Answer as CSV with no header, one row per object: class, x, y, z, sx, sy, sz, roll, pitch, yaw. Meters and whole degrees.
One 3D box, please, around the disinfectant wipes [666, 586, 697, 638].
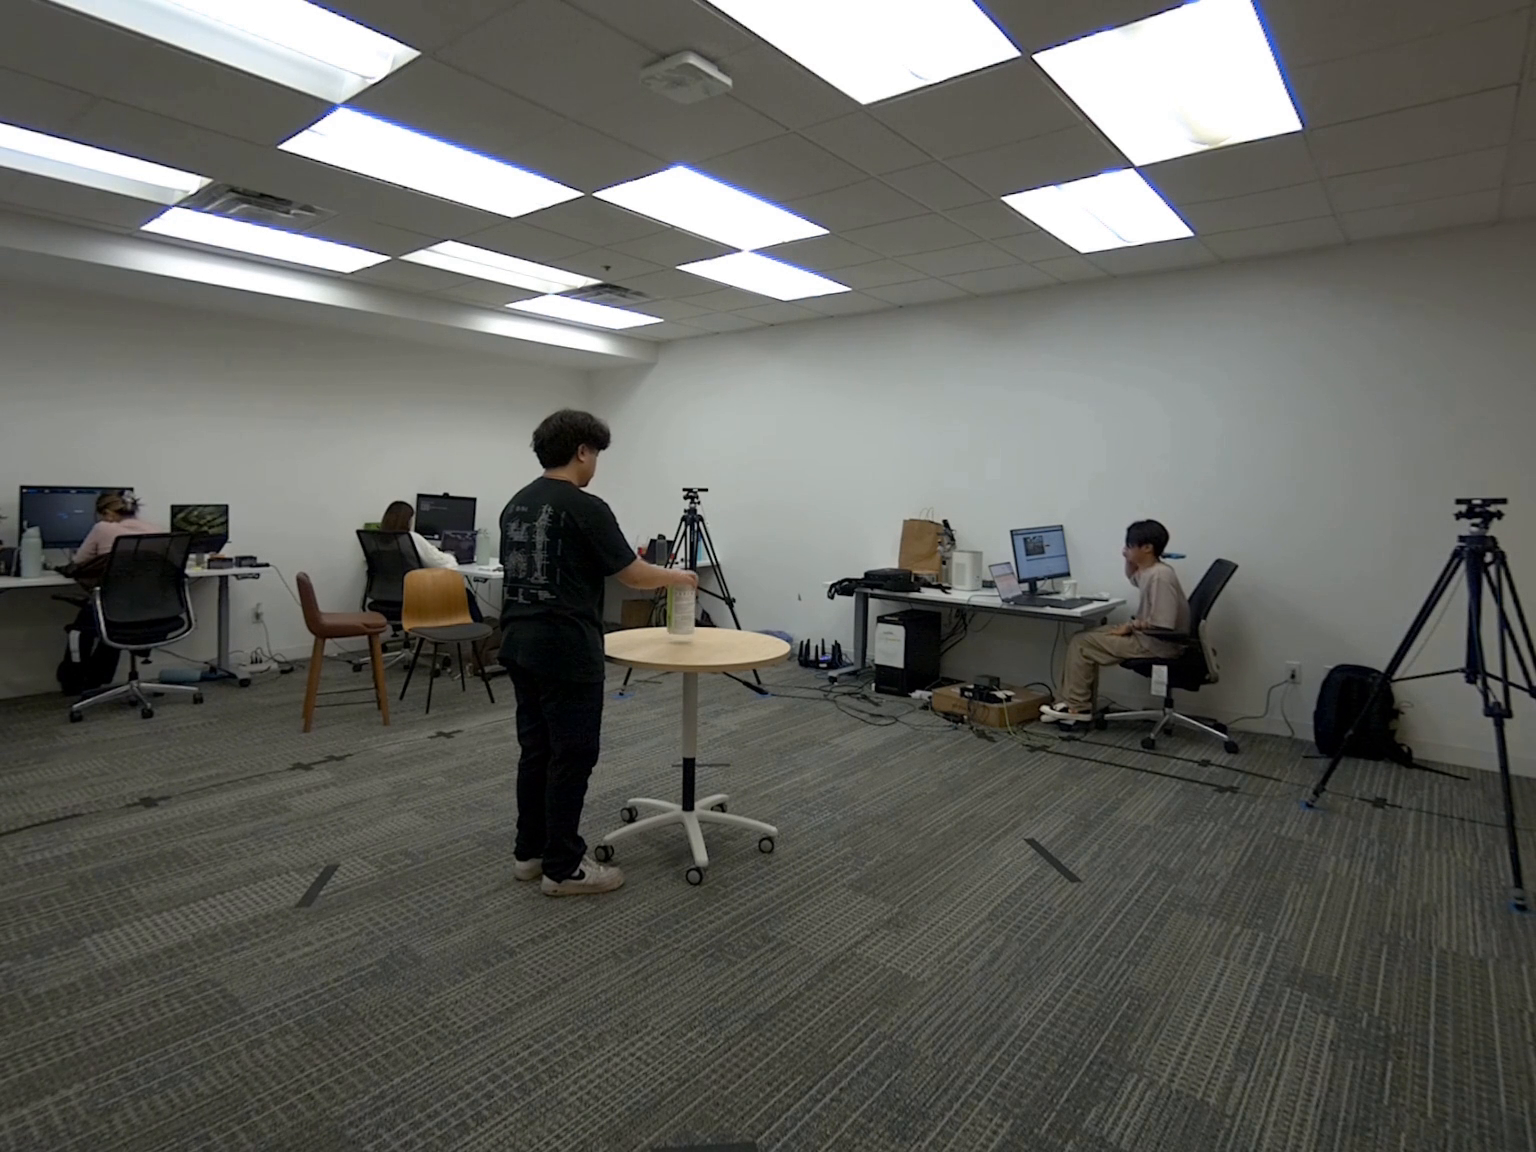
disinfectant wipes,-0.346,0.109,3.299,0.117,0.217,0.118,2,3,-2
